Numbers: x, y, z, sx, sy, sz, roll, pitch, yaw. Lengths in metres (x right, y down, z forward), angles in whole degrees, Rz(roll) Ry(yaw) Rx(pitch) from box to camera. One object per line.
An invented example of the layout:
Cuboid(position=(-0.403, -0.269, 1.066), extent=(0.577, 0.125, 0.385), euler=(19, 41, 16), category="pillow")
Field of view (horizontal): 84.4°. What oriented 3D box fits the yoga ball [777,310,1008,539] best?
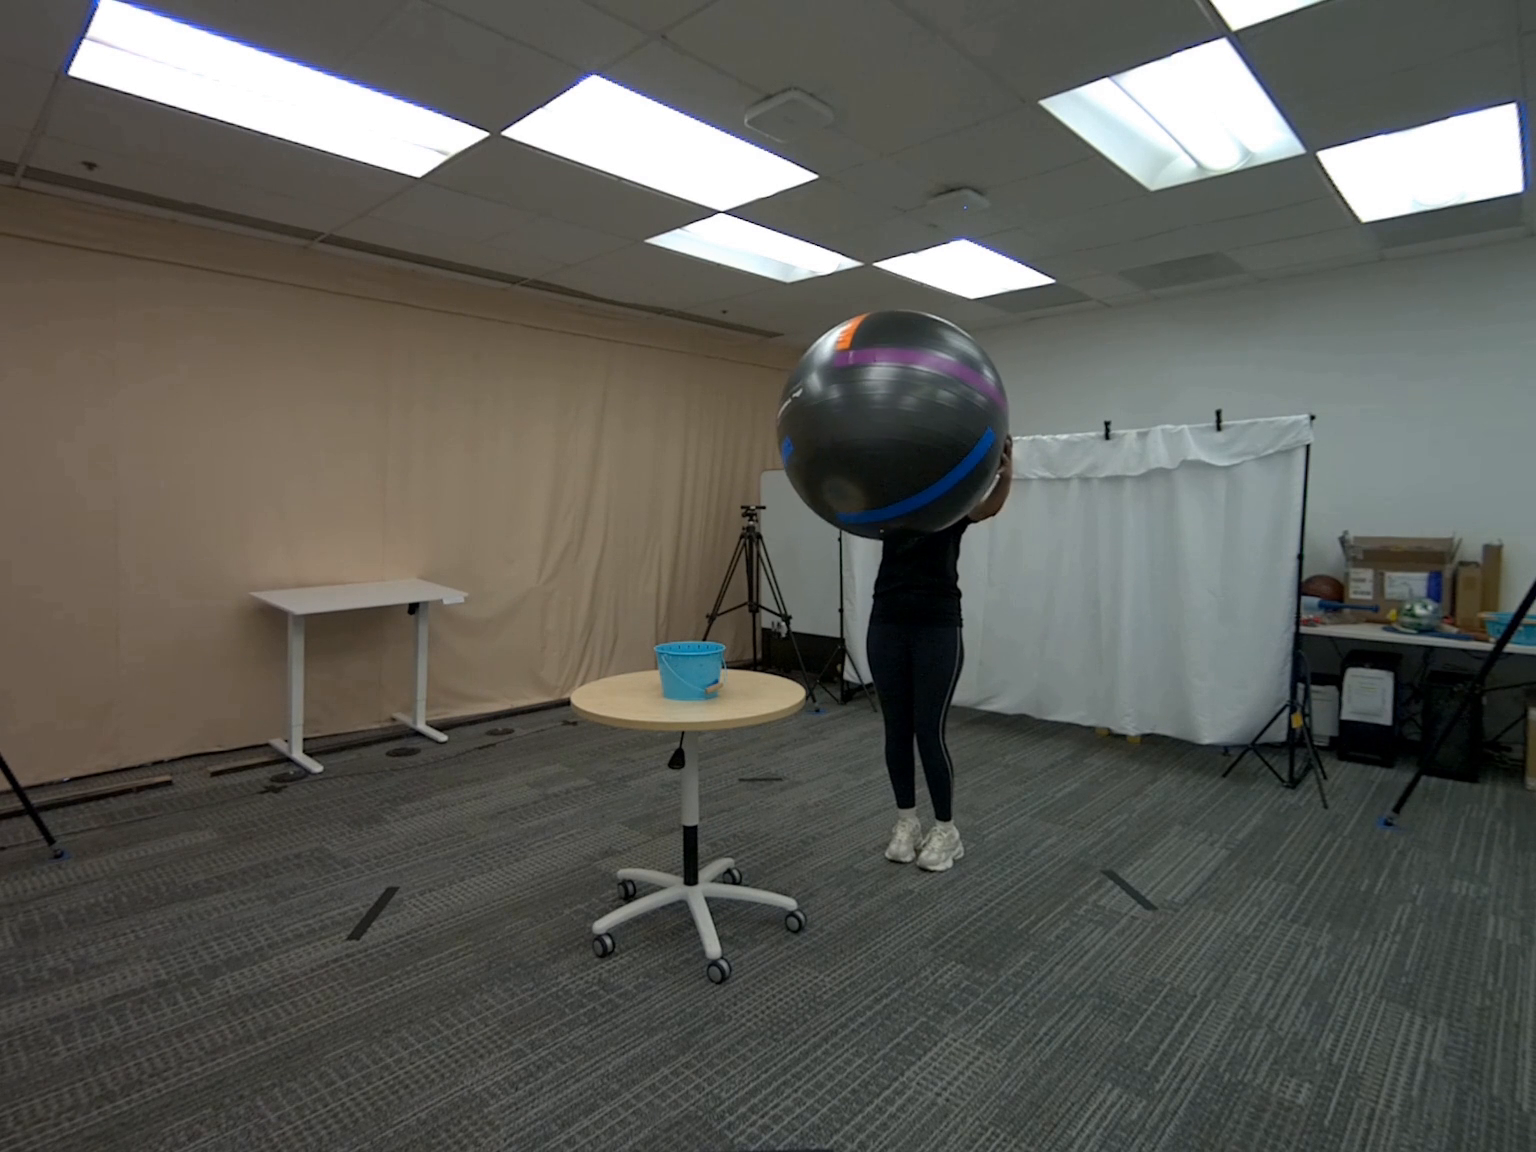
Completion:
Cuboid(position=(0.407, -0.487, 2.799), extent=(0.757, 0.756, 0.761), euler=(0, 4, -2), category="yoga ball")
